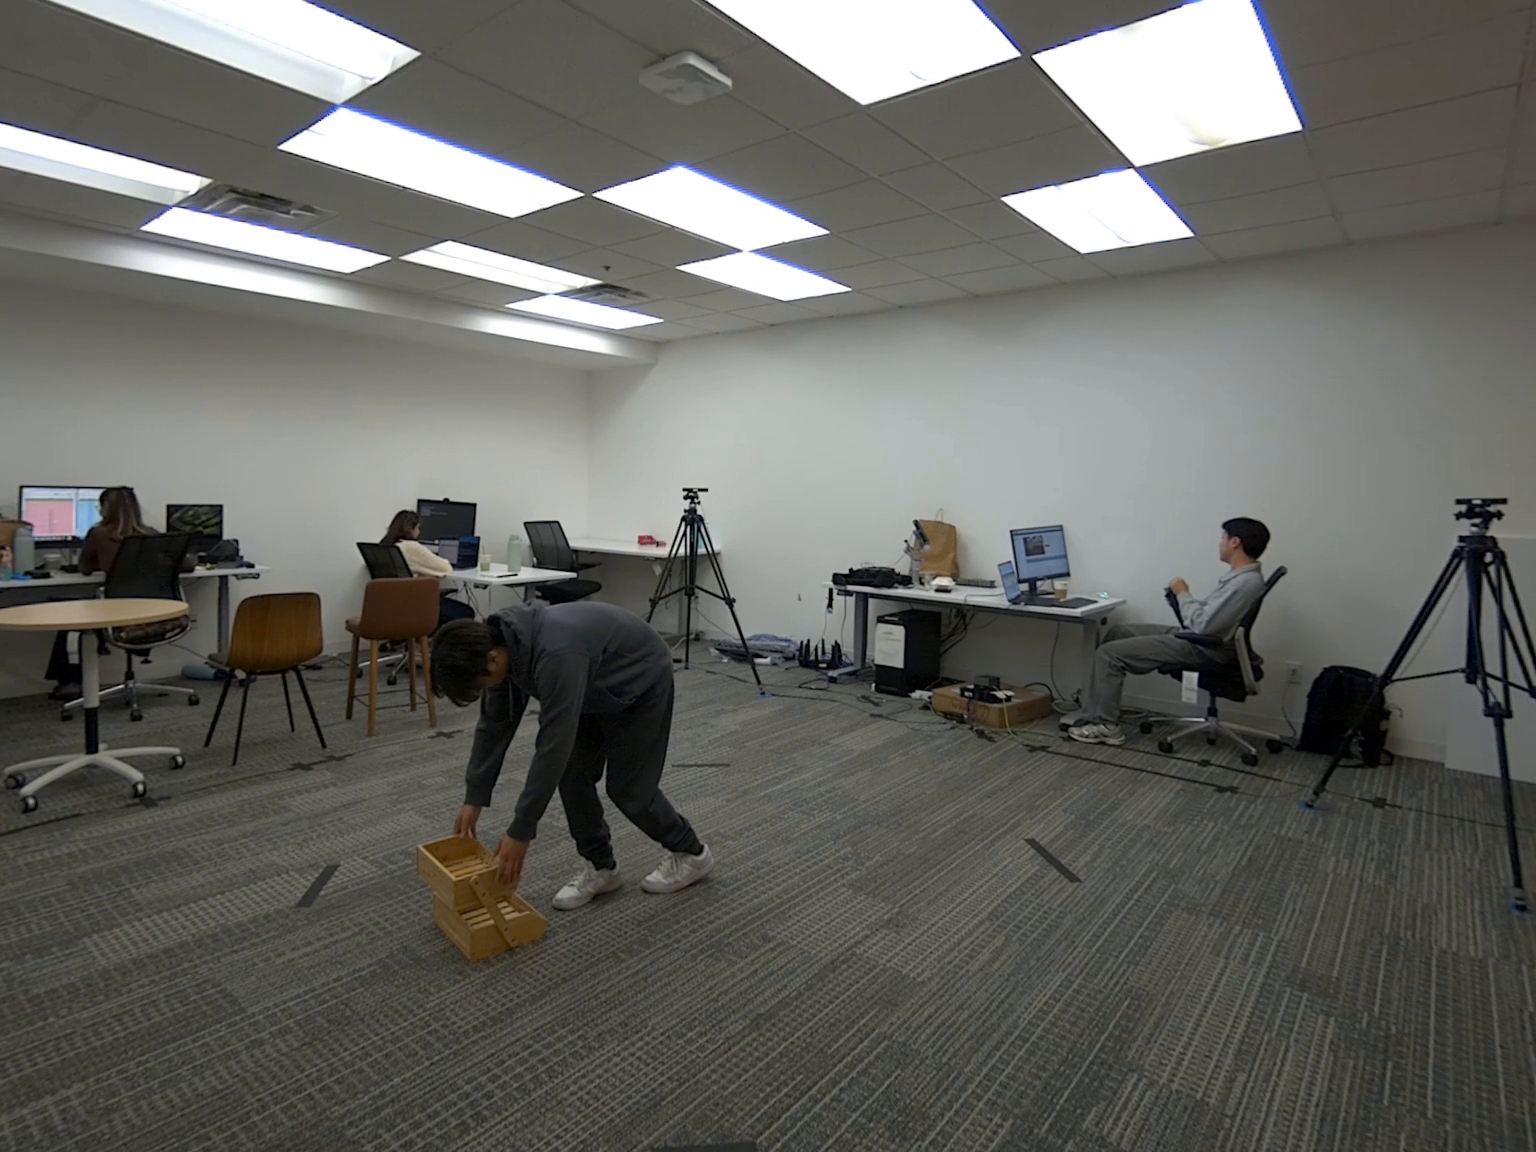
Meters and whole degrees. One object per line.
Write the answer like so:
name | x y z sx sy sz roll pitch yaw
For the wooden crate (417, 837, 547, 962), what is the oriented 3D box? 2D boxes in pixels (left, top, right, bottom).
wooden crate | -0.901 0.969 2.642 0.293 0.272 0.335 -4 6 -41
